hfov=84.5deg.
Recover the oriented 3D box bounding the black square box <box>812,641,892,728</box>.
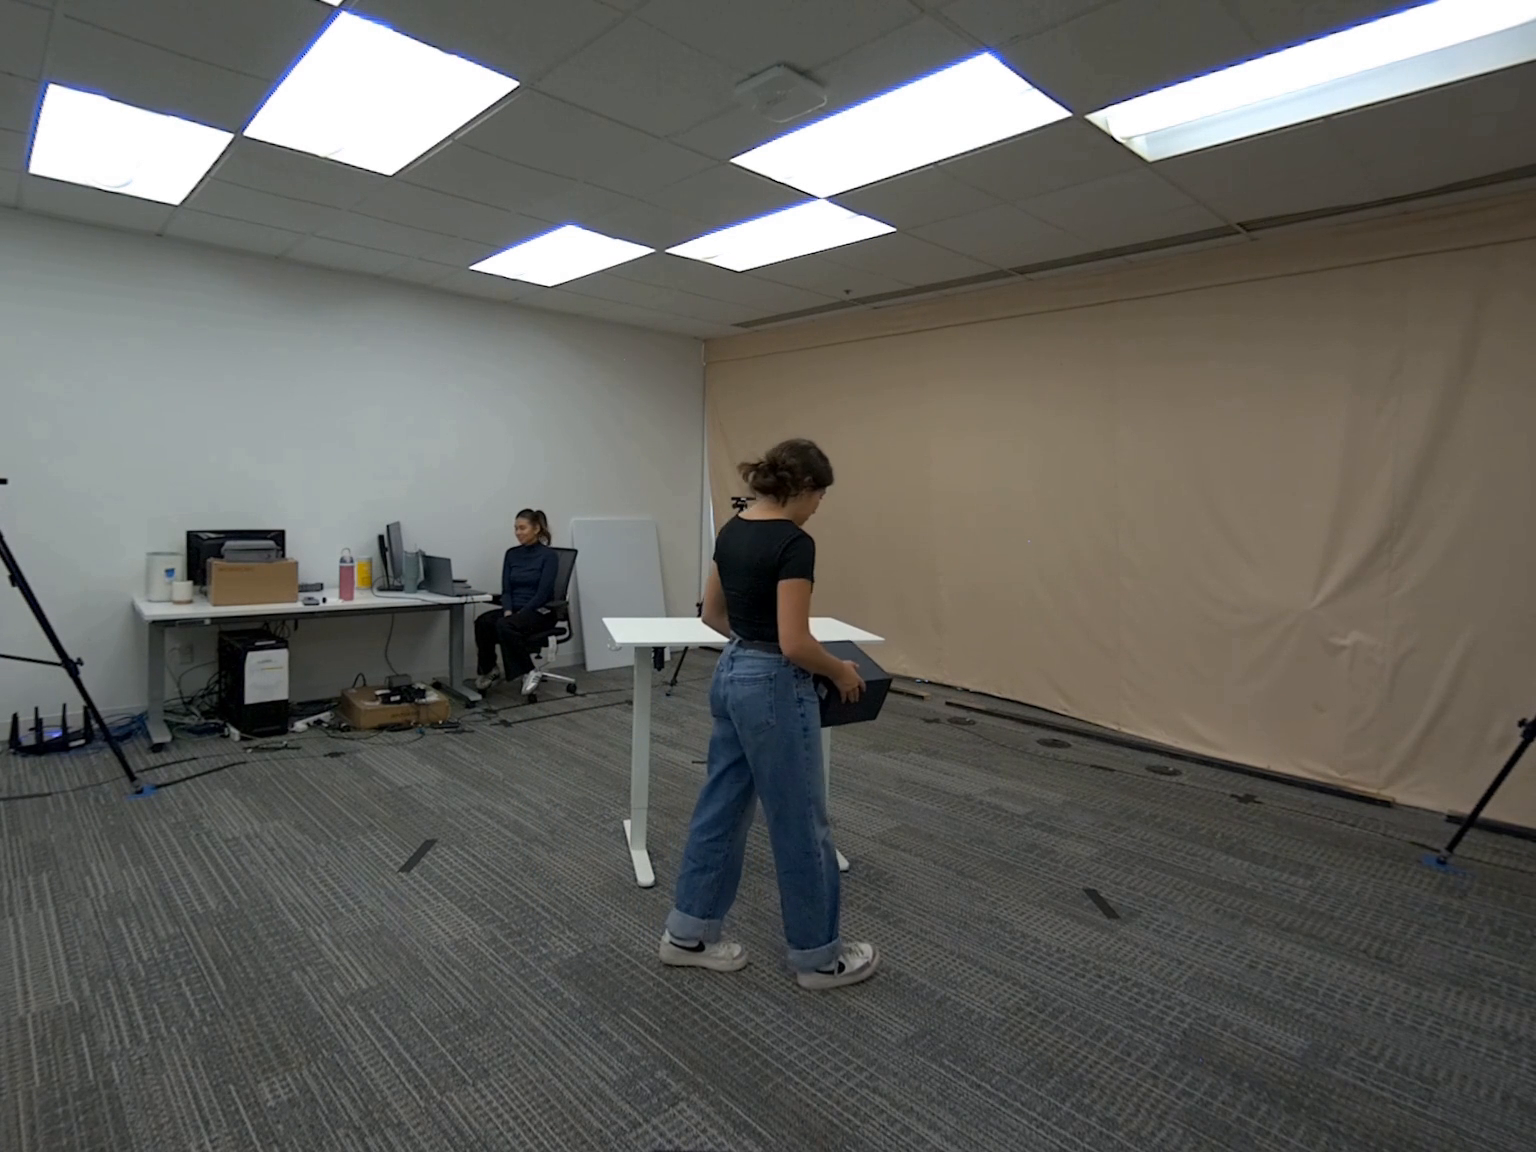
[{"bbox_3d":[0.206,0.320,2.556,0.223,0.154,0.224,-1,29,-34],"label":"black square box"}]
